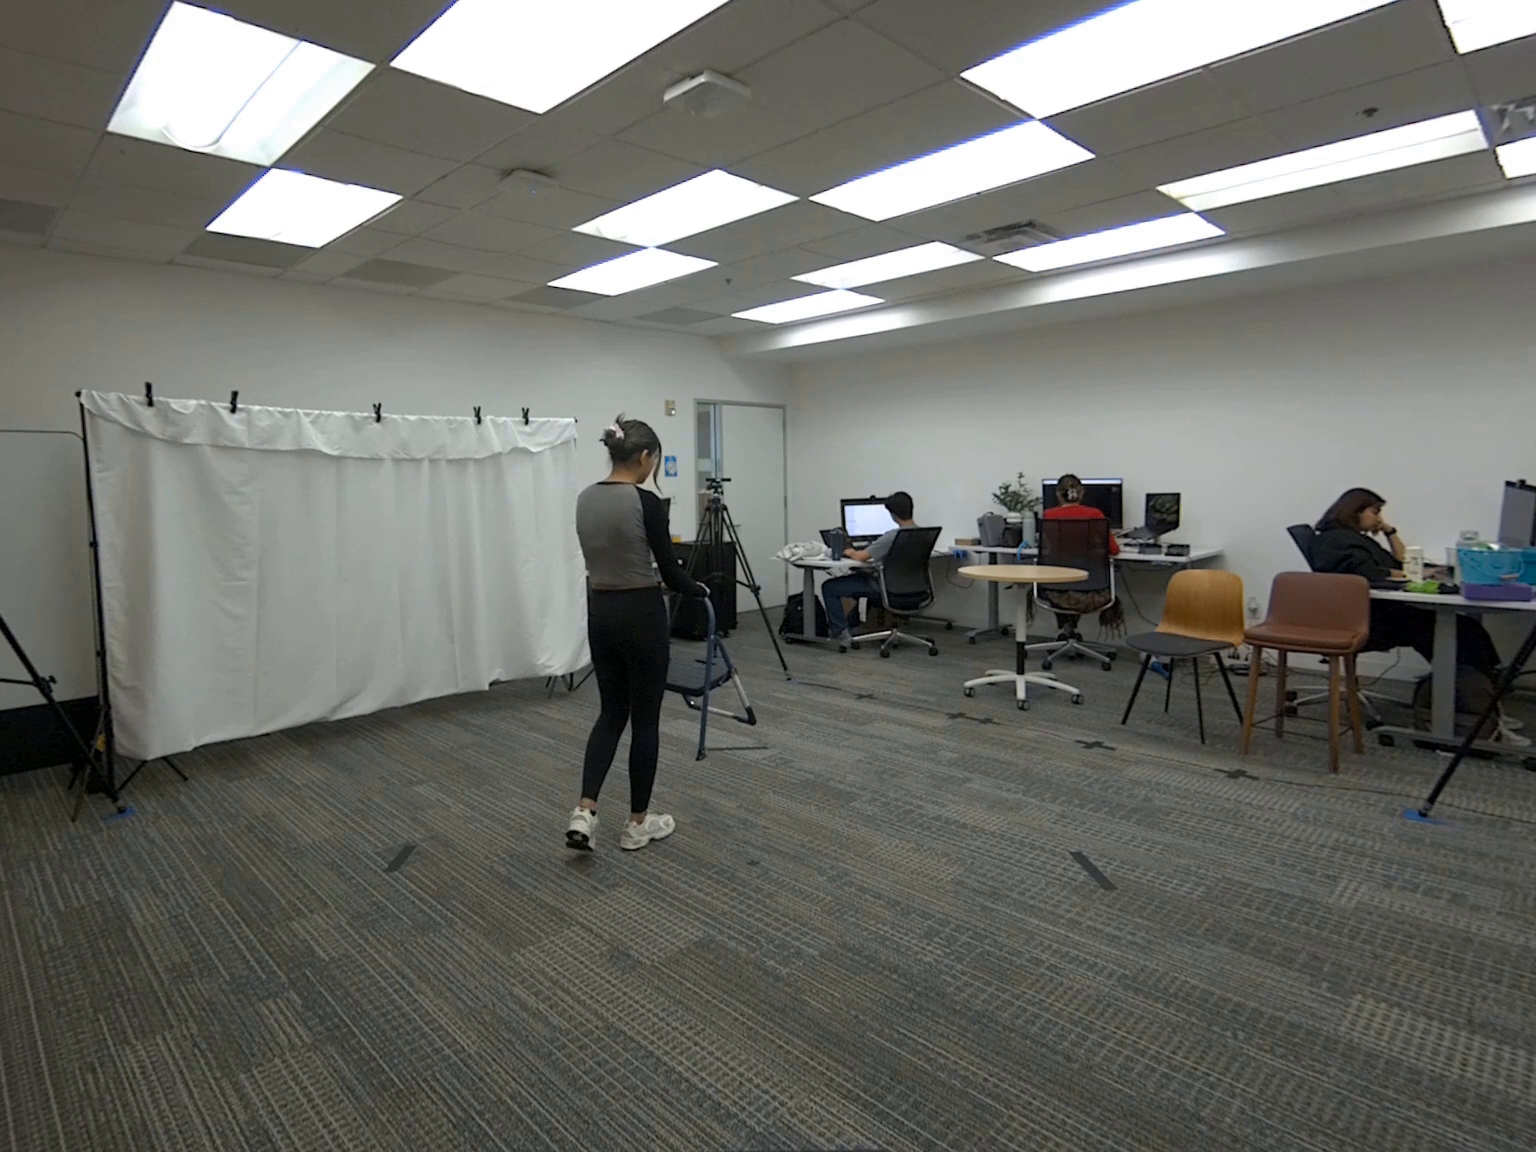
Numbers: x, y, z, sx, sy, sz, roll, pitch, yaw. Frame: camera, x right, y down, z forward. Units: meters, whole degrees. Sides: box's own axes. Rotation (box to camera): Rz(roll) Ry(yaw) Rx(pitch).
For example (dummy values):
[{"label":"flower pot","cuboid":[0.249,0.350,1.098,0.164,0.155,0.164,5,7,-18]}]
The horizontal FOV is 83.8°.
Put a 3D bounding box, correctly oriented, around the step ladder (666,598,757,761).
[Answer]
[{"label":"step ladder","cuboid":[-0.348,0.361,3.520,0.444,0.598,0.343,5,19,43]}]
